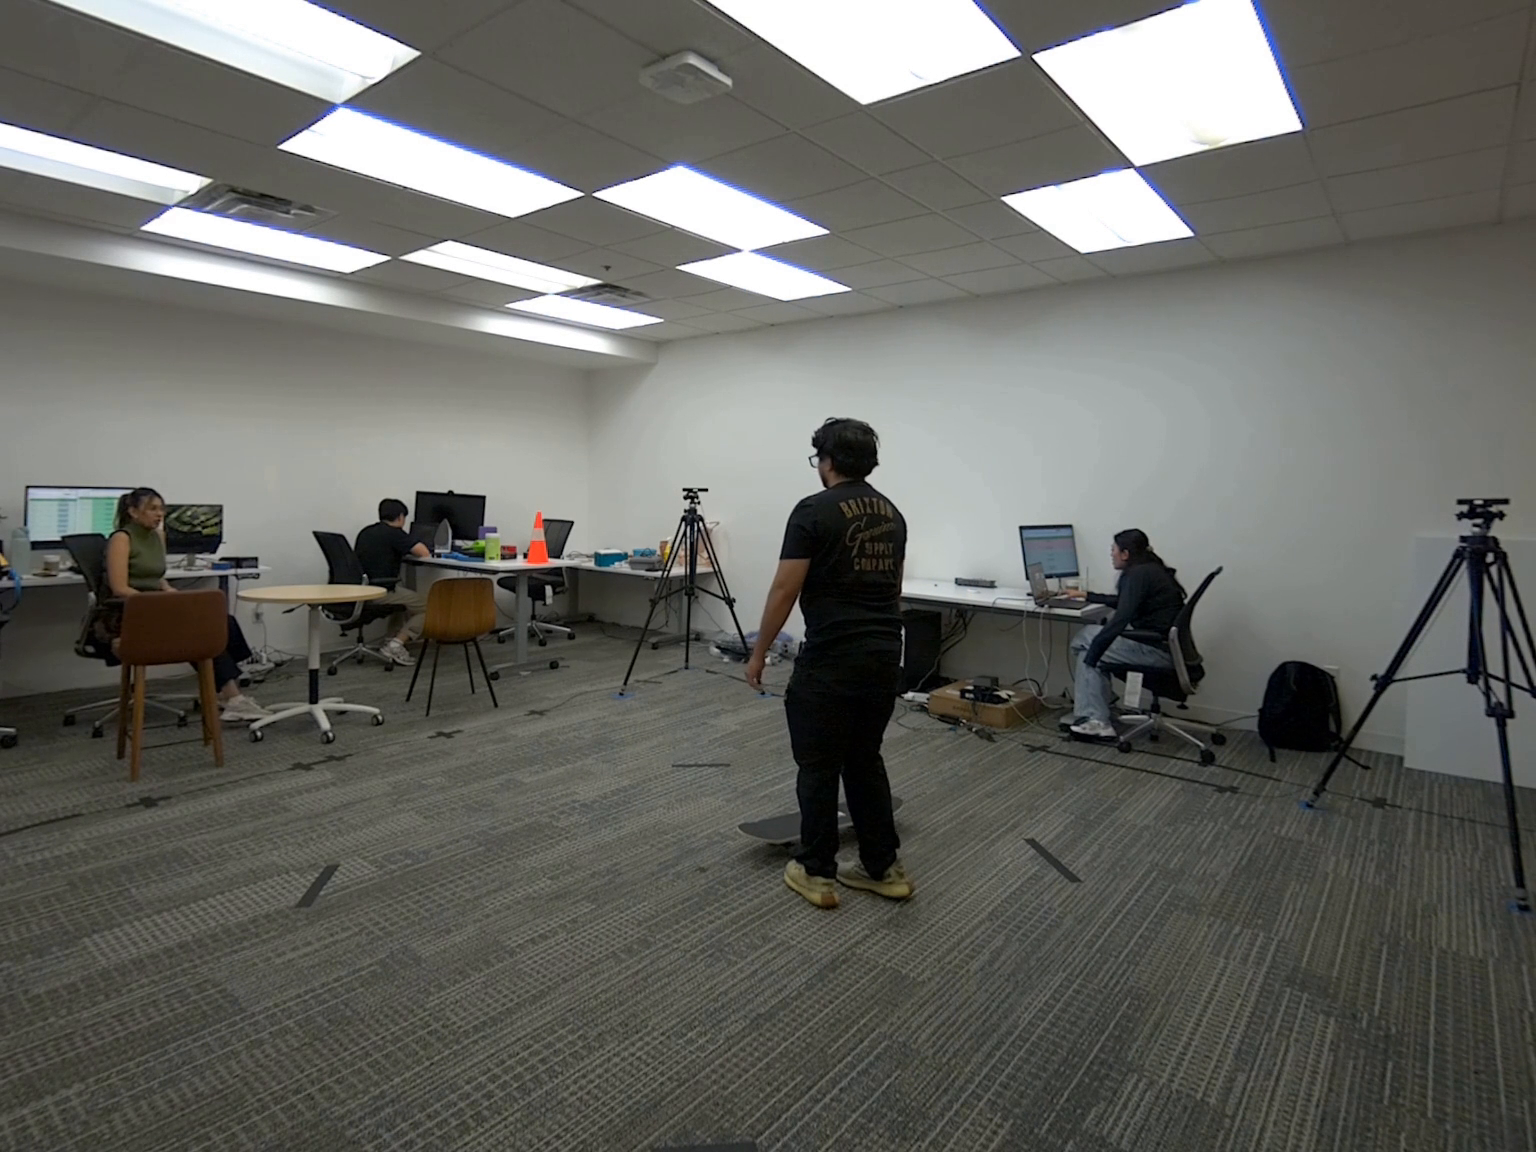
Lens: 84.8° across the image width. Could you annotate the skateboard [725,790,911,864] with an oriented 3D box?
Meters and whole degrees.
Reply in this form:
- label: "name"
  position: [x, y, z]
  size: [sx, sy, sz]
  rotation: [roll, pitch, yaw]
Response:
- label: "skateboard"
  position: [0.213, 0.988, 3.395]
  size: [0.764, 0.110, 0.199]
  rotation: [-2, 5, -31]
